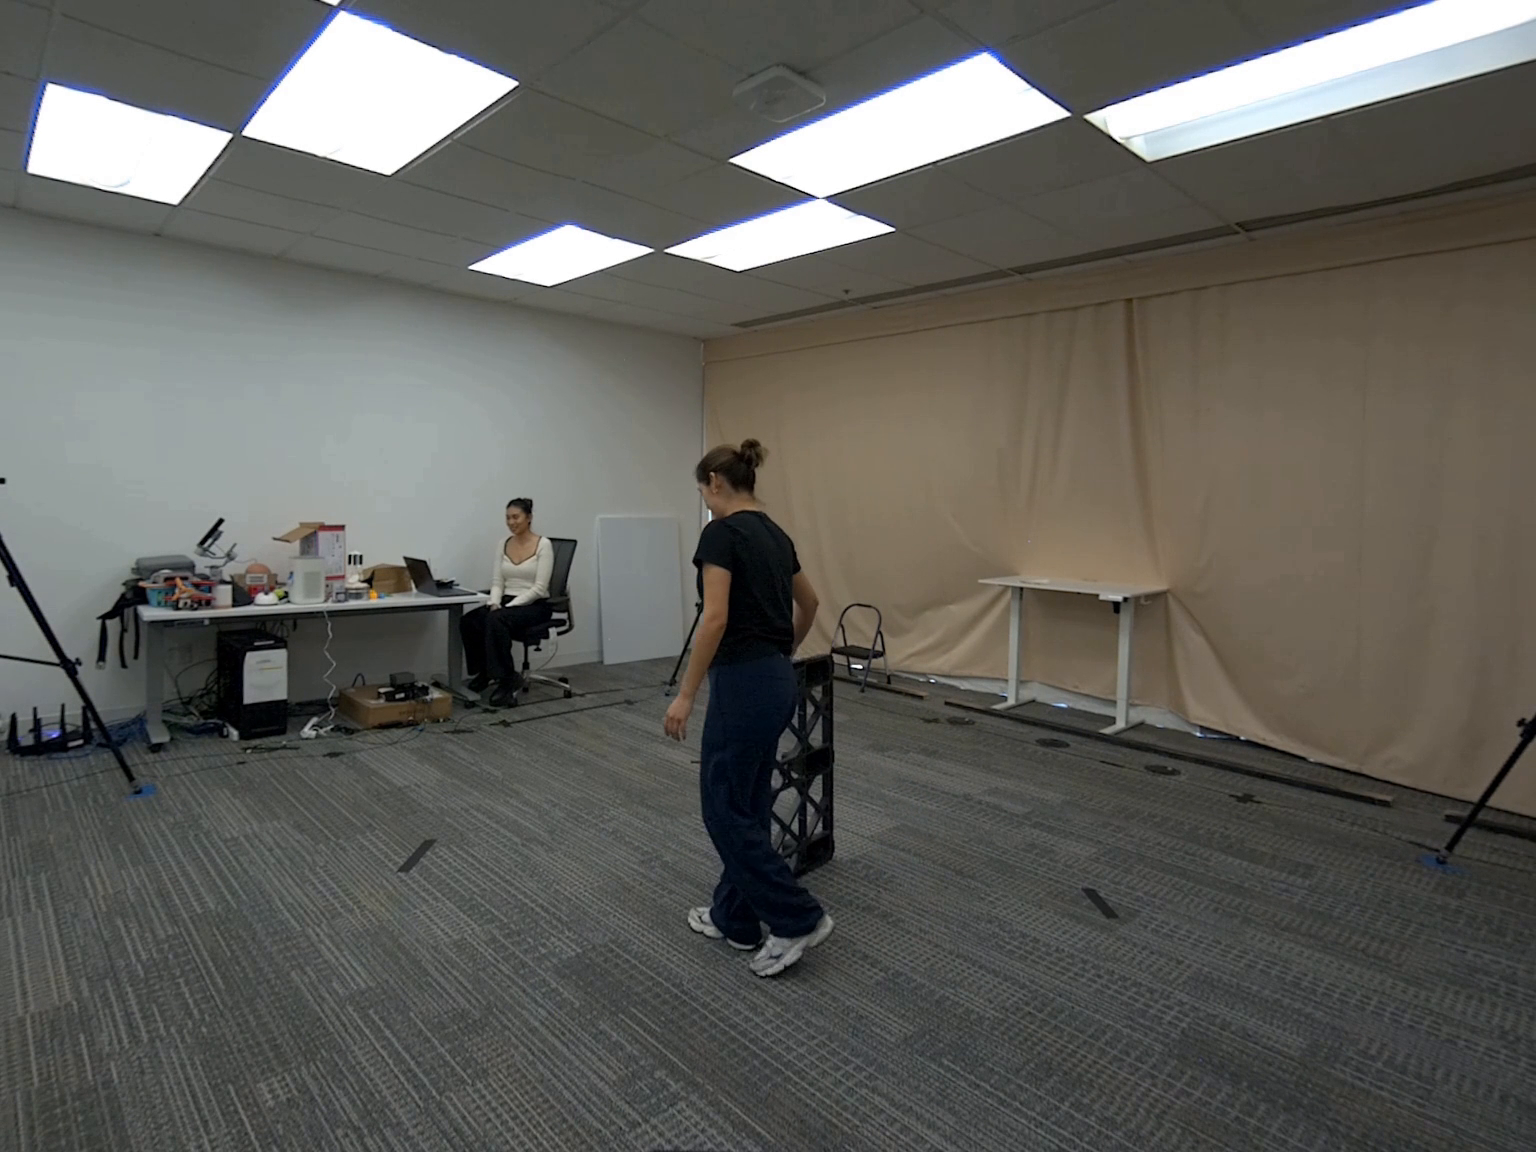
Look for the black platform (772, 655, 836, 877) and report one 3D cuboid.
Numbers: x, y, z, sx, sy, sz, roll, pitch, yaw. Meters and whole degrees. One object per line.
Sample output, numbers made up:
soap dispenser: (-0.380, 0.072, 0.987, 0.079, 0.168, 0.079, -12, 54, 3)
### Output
black platform: (0.031, 0.723, 3.055, 0.147, 0.805, 0.592, 1, 2, 37)
